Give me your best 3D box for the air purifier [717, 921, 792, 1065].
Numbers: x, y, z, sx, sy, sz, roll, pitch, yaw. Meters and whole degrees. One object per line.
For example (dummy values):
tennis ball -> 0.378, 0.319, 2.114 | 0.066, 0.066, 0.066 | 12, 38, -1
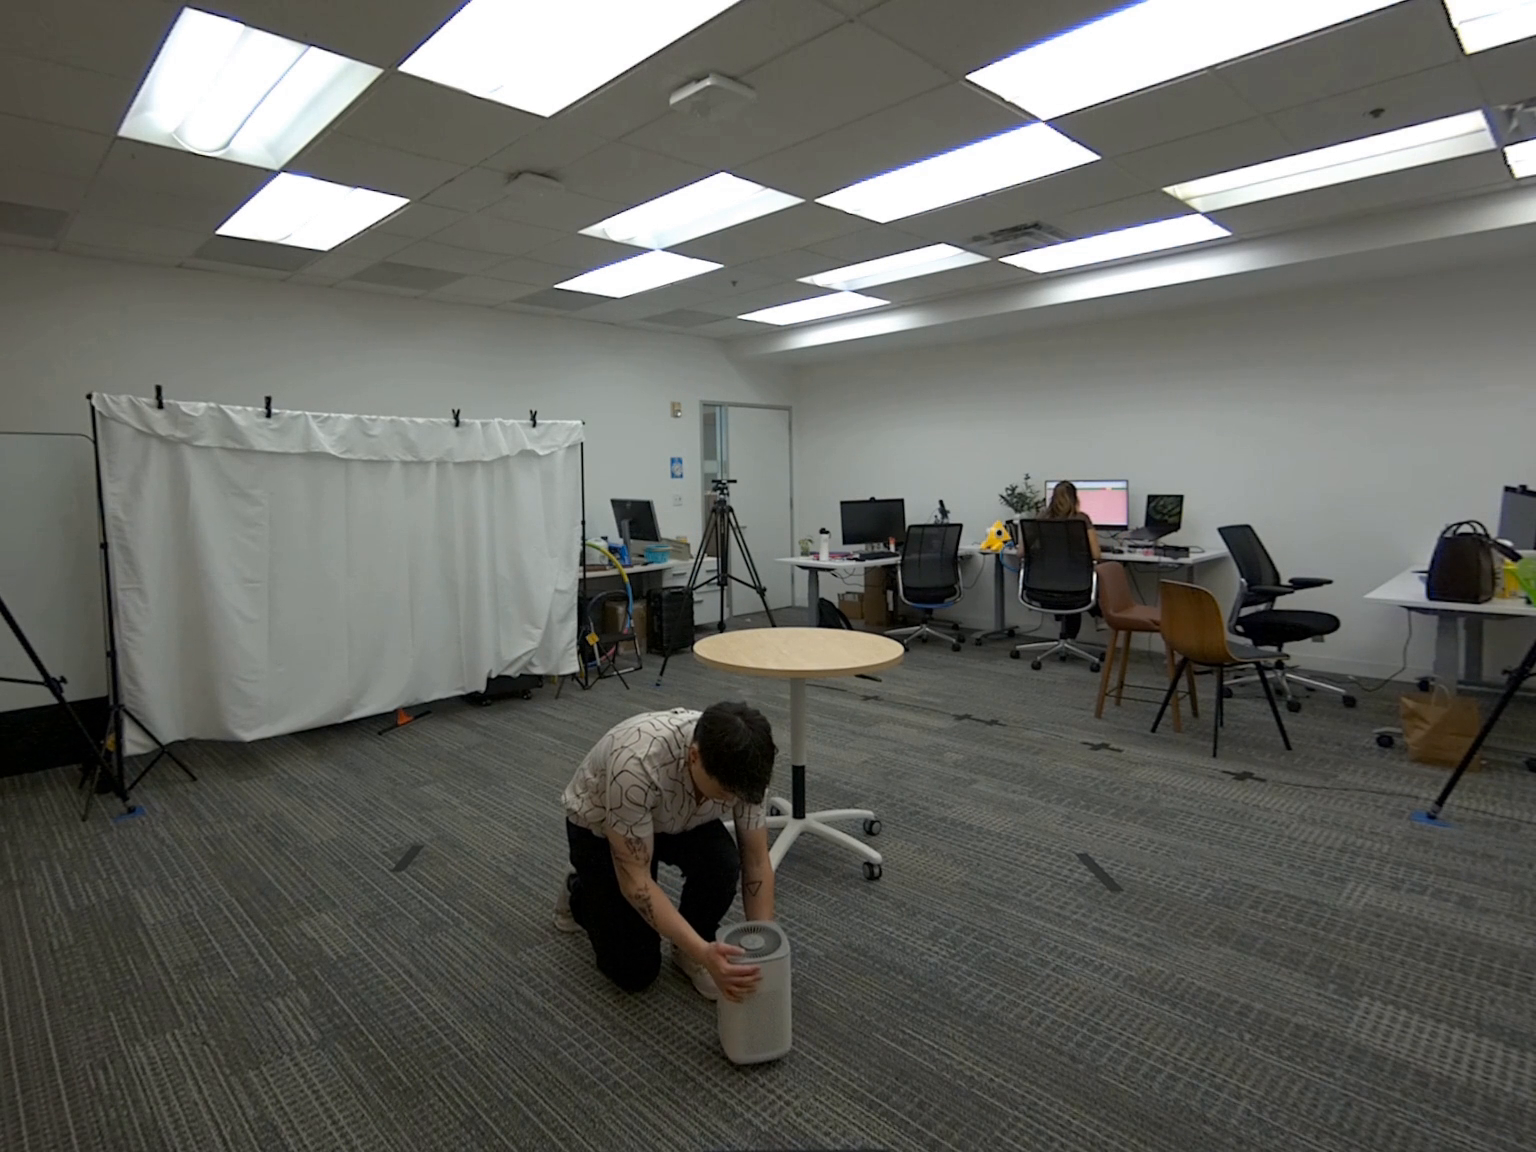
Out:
air purifier -> -0.033, 1.020, 2.076 | 0.169, 0.264, 0.174 | -1, 5, -15
